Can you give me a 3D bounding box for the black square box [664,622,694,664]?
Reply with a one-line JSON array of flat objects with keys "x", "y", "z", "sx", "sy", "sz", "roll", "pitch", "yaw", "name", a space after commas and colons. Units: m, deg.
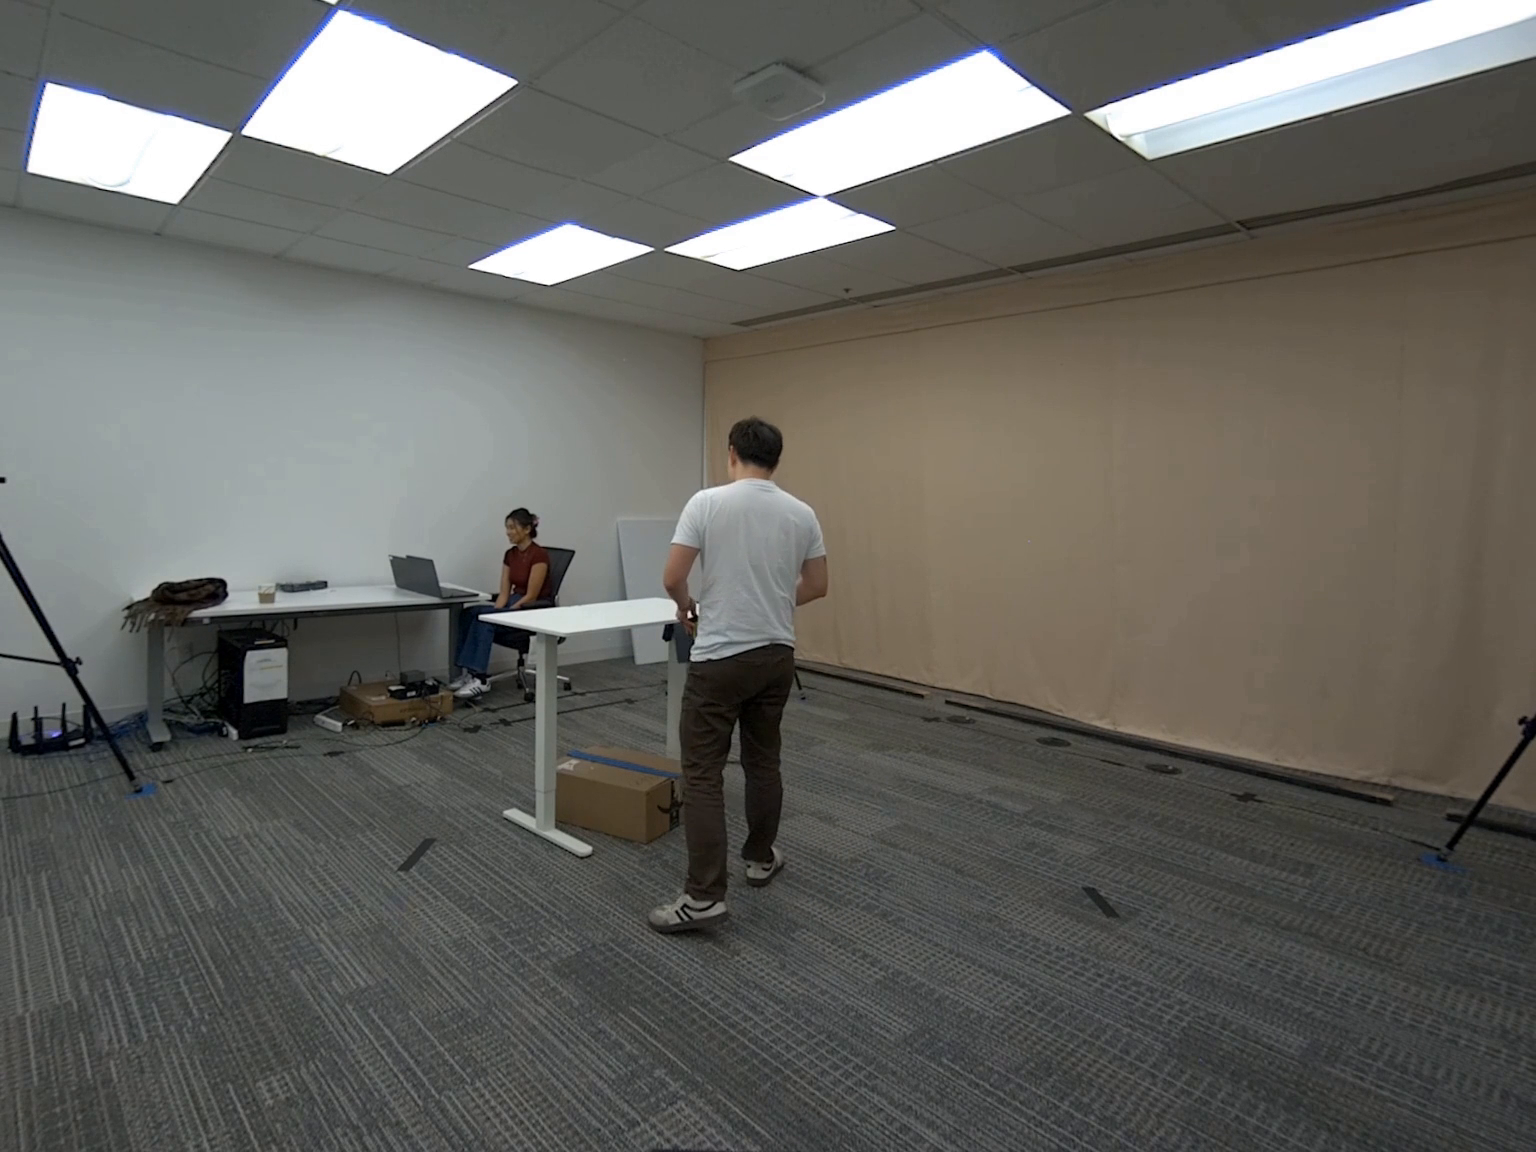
[{"x": -0.211, "y": 0.243, "z": 3.198, "sx": 0.224, "sy": 0.157, "sz": 0.219, "roll": -2, "pitch": -9, "yaw": -25, "name": "black square box"}]
